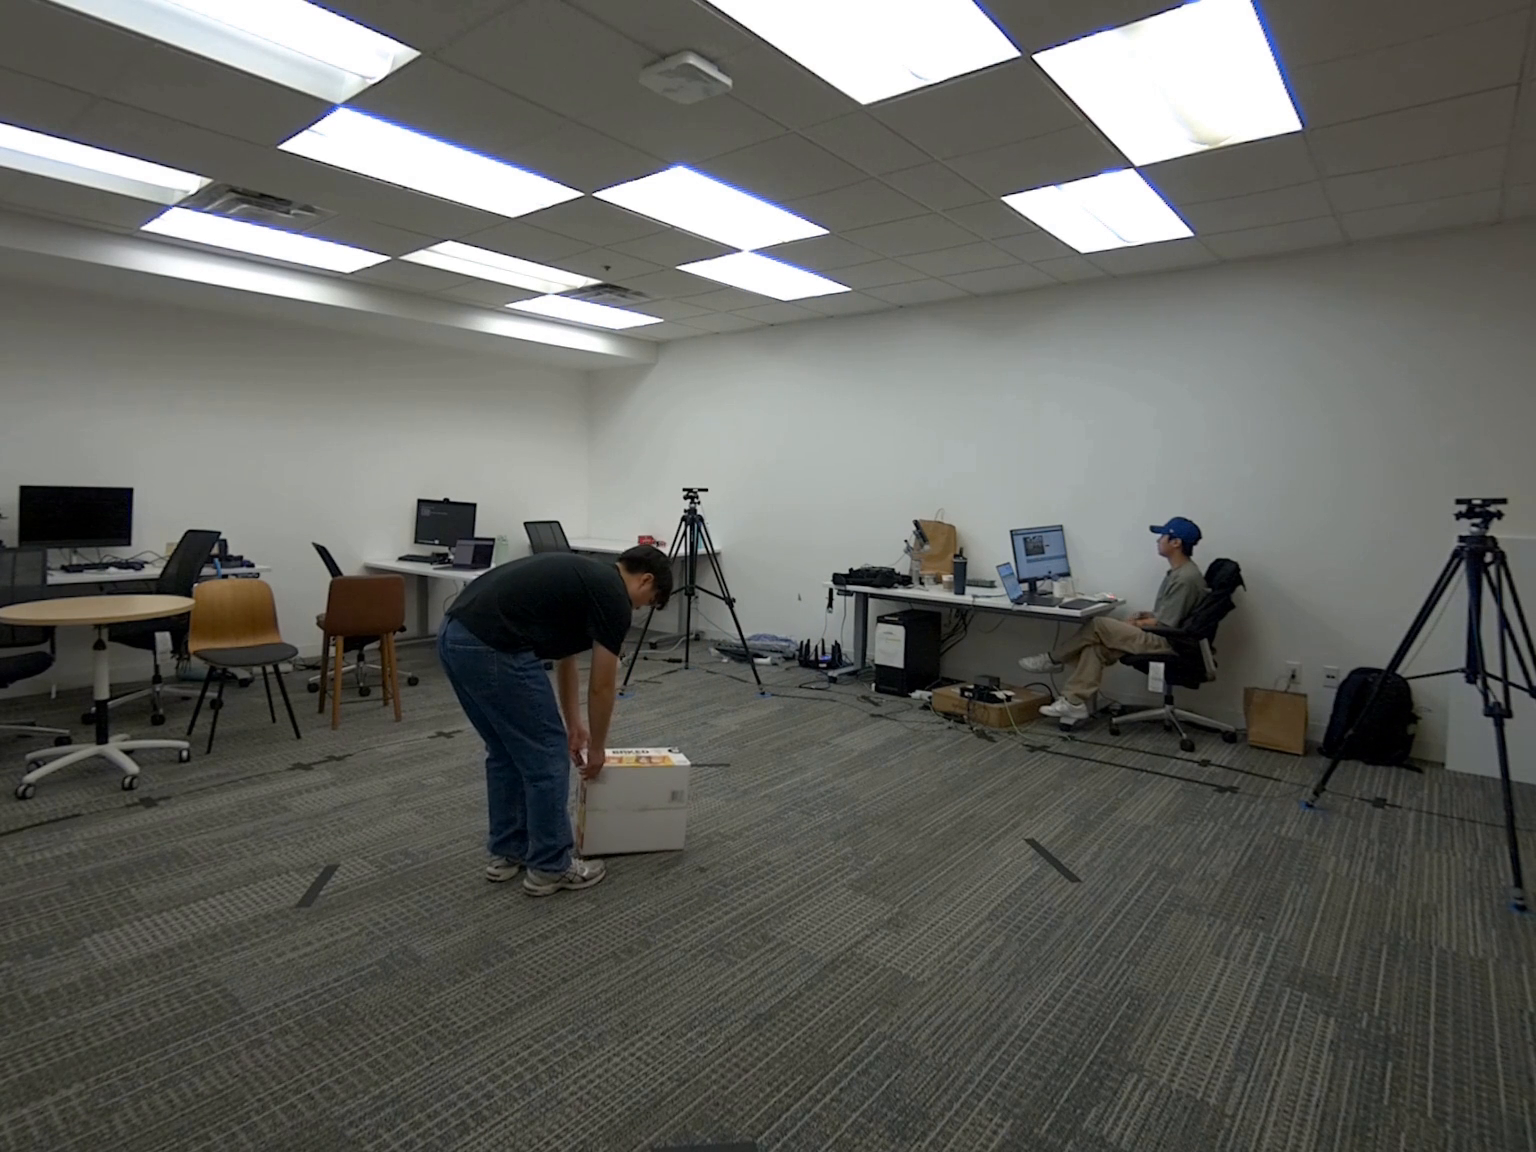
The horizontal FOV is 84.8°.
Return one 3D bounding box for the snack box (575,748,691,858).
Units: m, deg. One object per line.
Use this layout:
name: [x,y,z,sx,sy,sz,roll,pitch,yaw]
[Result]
snack box: [-0.541,0.861,3.304,0.397,0.339,0.210,3,4,-19]
